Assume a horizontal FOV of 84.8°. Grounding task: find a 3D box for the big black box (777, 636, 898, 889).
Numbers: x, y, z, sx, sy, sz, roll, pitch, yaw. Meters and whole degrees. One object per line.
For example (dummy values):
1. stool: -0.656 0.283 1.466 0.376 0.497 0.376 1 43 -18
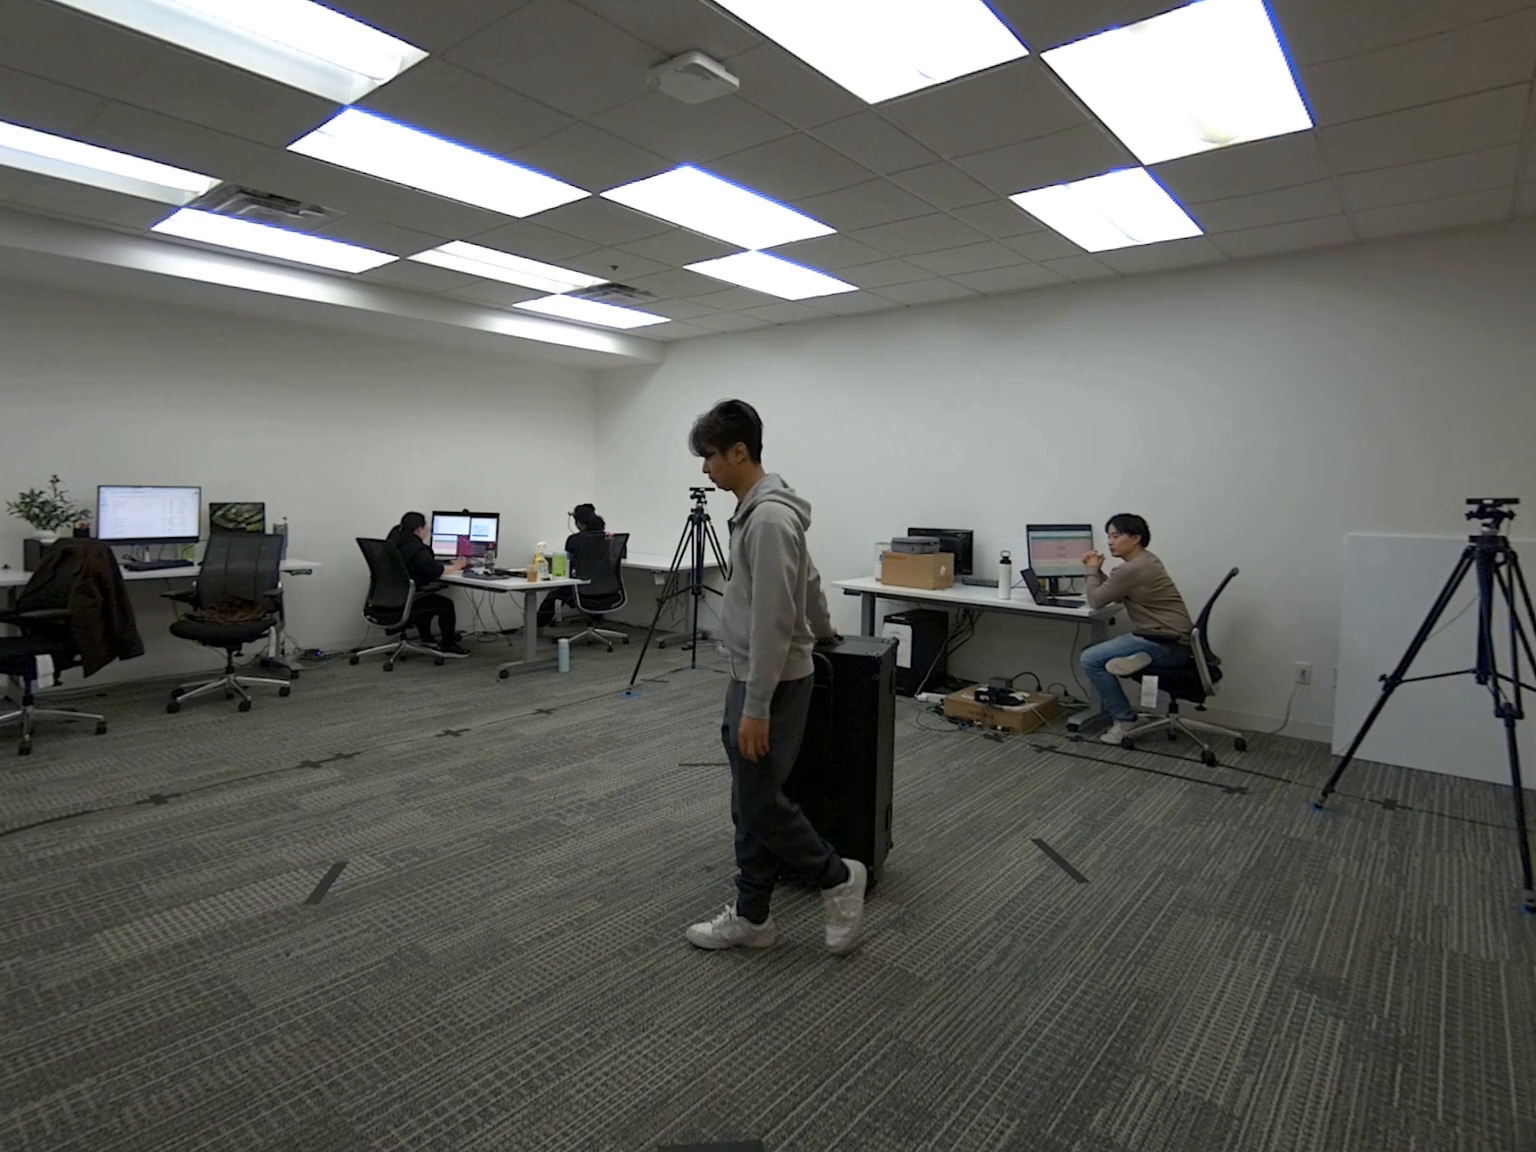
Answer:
1. big black box: 0.185 0.656 3.055 0.532 0.858 0.390 2 5 19
